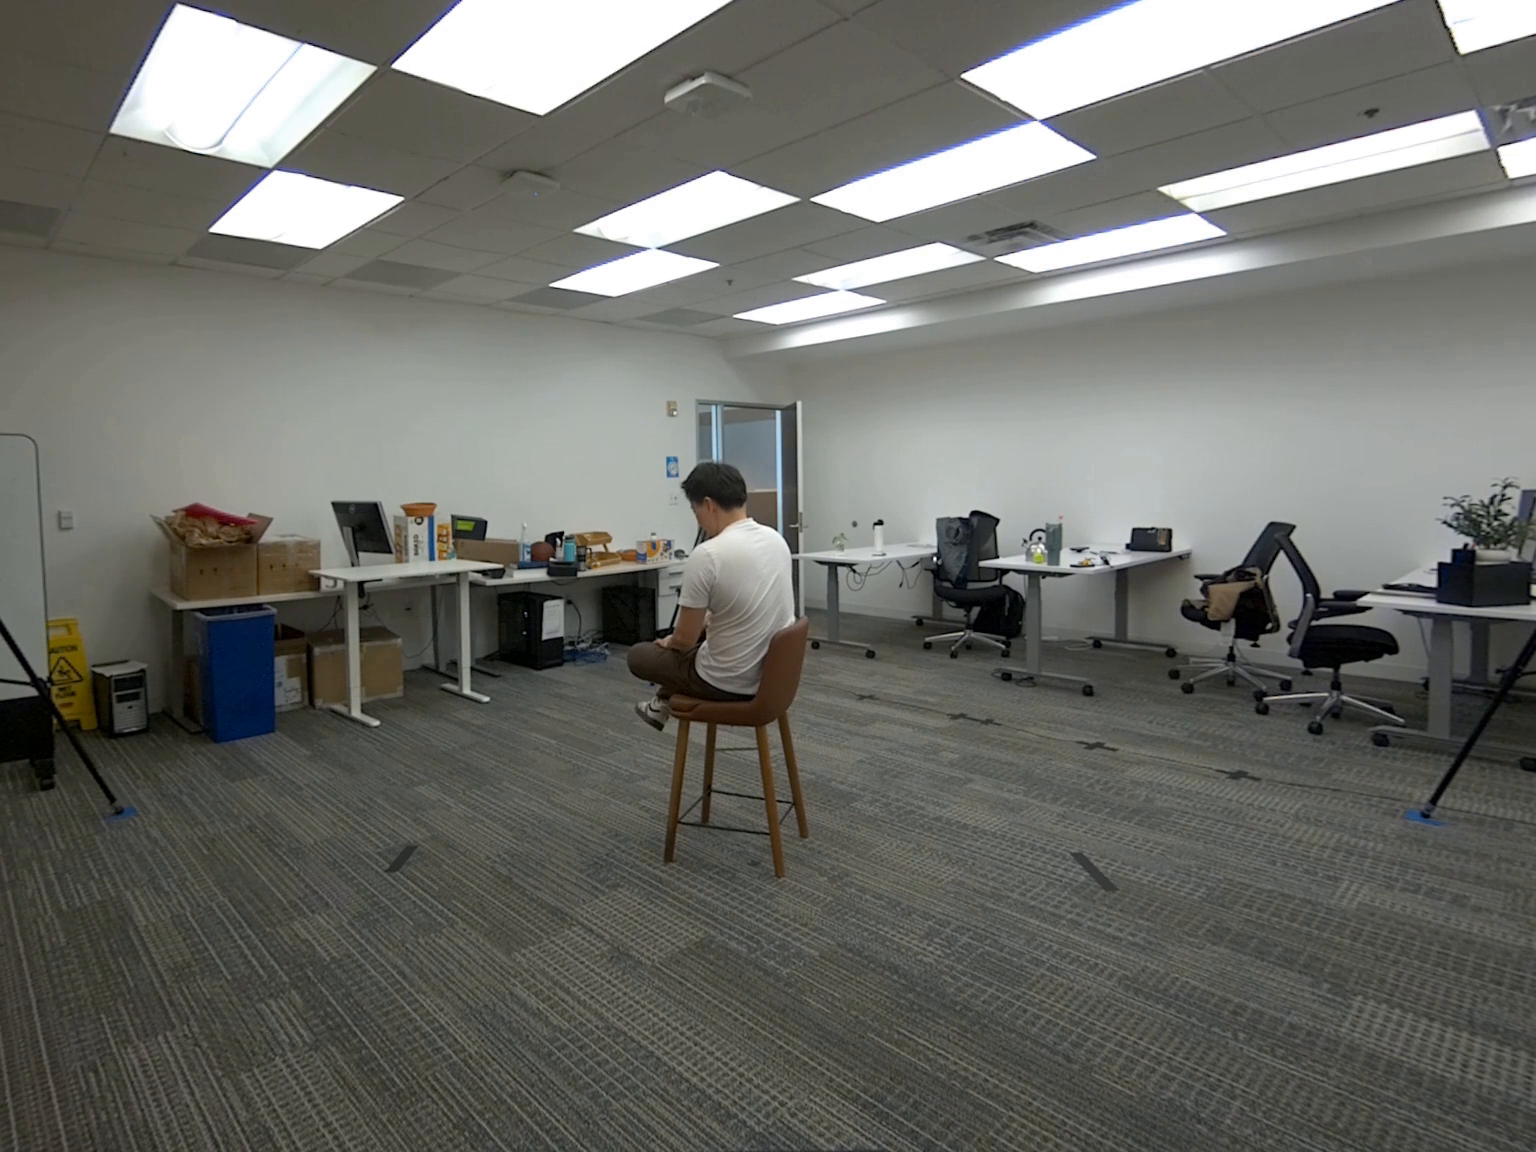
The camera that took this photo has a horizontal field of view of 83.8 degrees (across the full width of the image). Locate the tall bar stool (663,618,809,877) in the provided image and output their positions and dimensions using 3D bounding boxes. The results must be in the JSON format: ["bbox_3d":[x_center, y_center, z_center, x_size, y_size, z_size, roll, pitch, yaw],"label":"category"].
[{"bbox_3d":[-0.102,0.606,3.211,0.477,0.886,0.449,3,5,20],"label":"tall bar stool"}]
